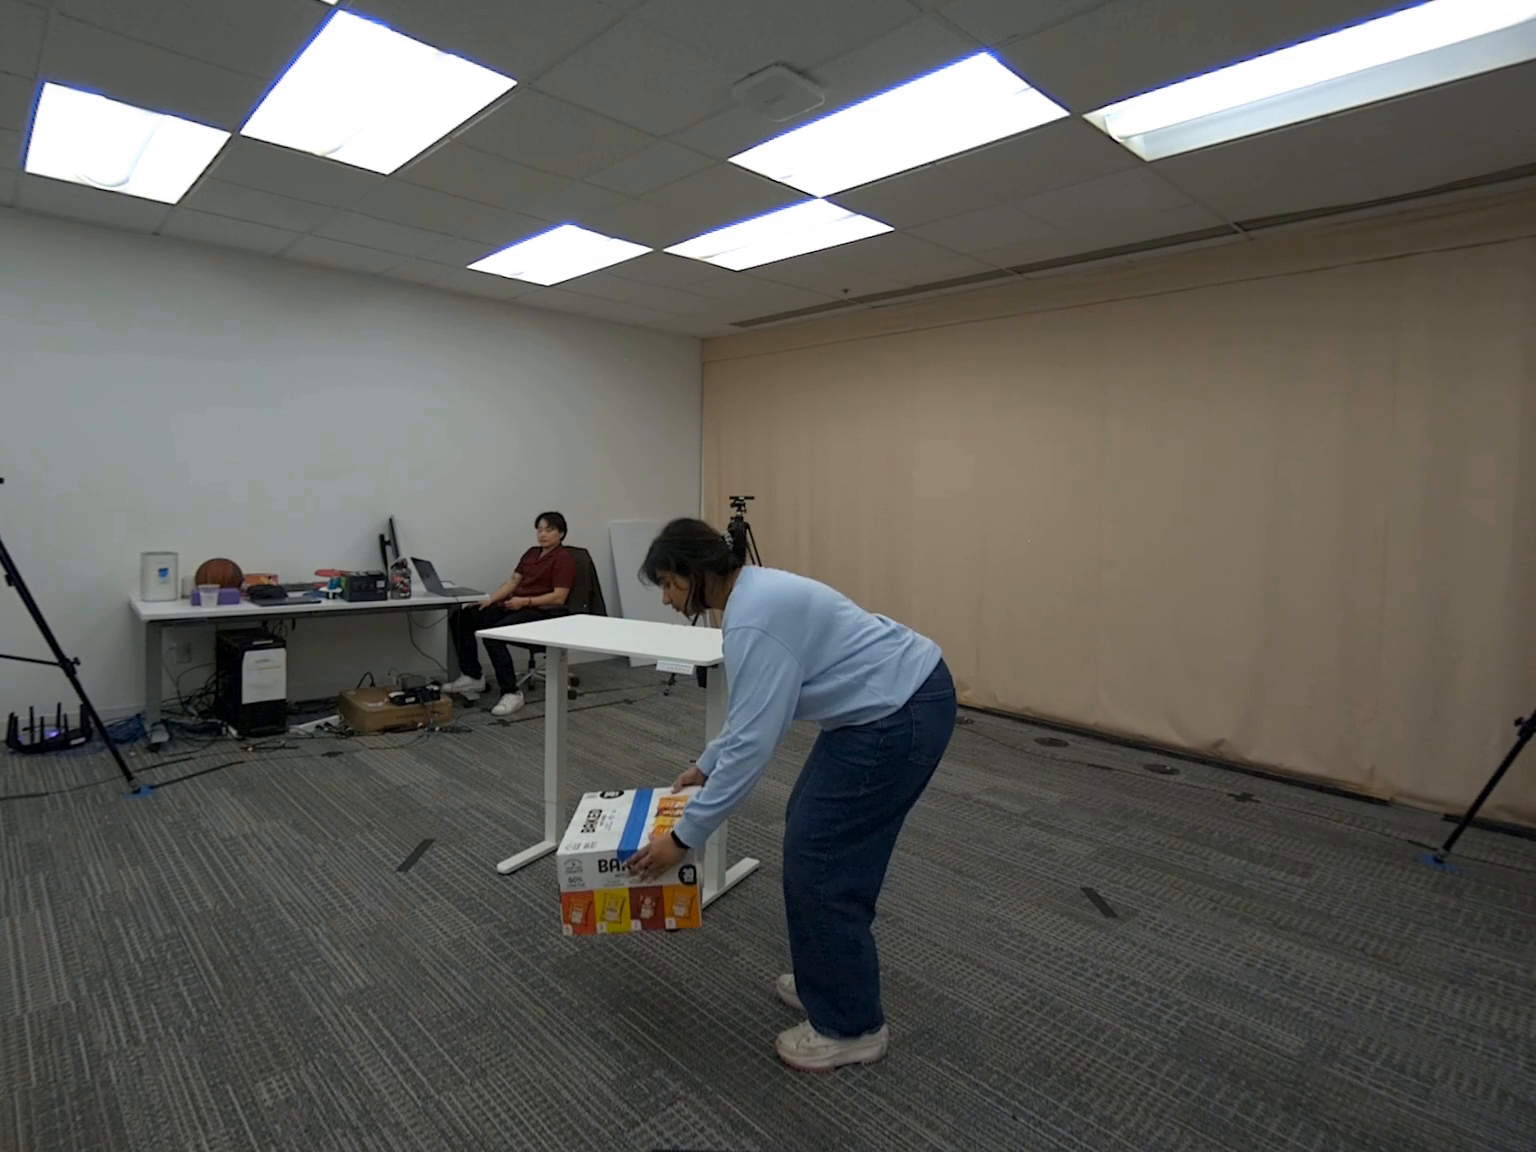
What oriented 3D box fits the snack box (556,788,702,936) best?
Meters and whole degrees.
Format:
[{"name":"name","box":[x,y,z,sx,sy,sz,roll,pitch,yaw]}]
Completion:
[{"name":"snack box","box":[-0.346,0.734,2.229,0.340,0.205,0.407,-4,6,-1]}]
